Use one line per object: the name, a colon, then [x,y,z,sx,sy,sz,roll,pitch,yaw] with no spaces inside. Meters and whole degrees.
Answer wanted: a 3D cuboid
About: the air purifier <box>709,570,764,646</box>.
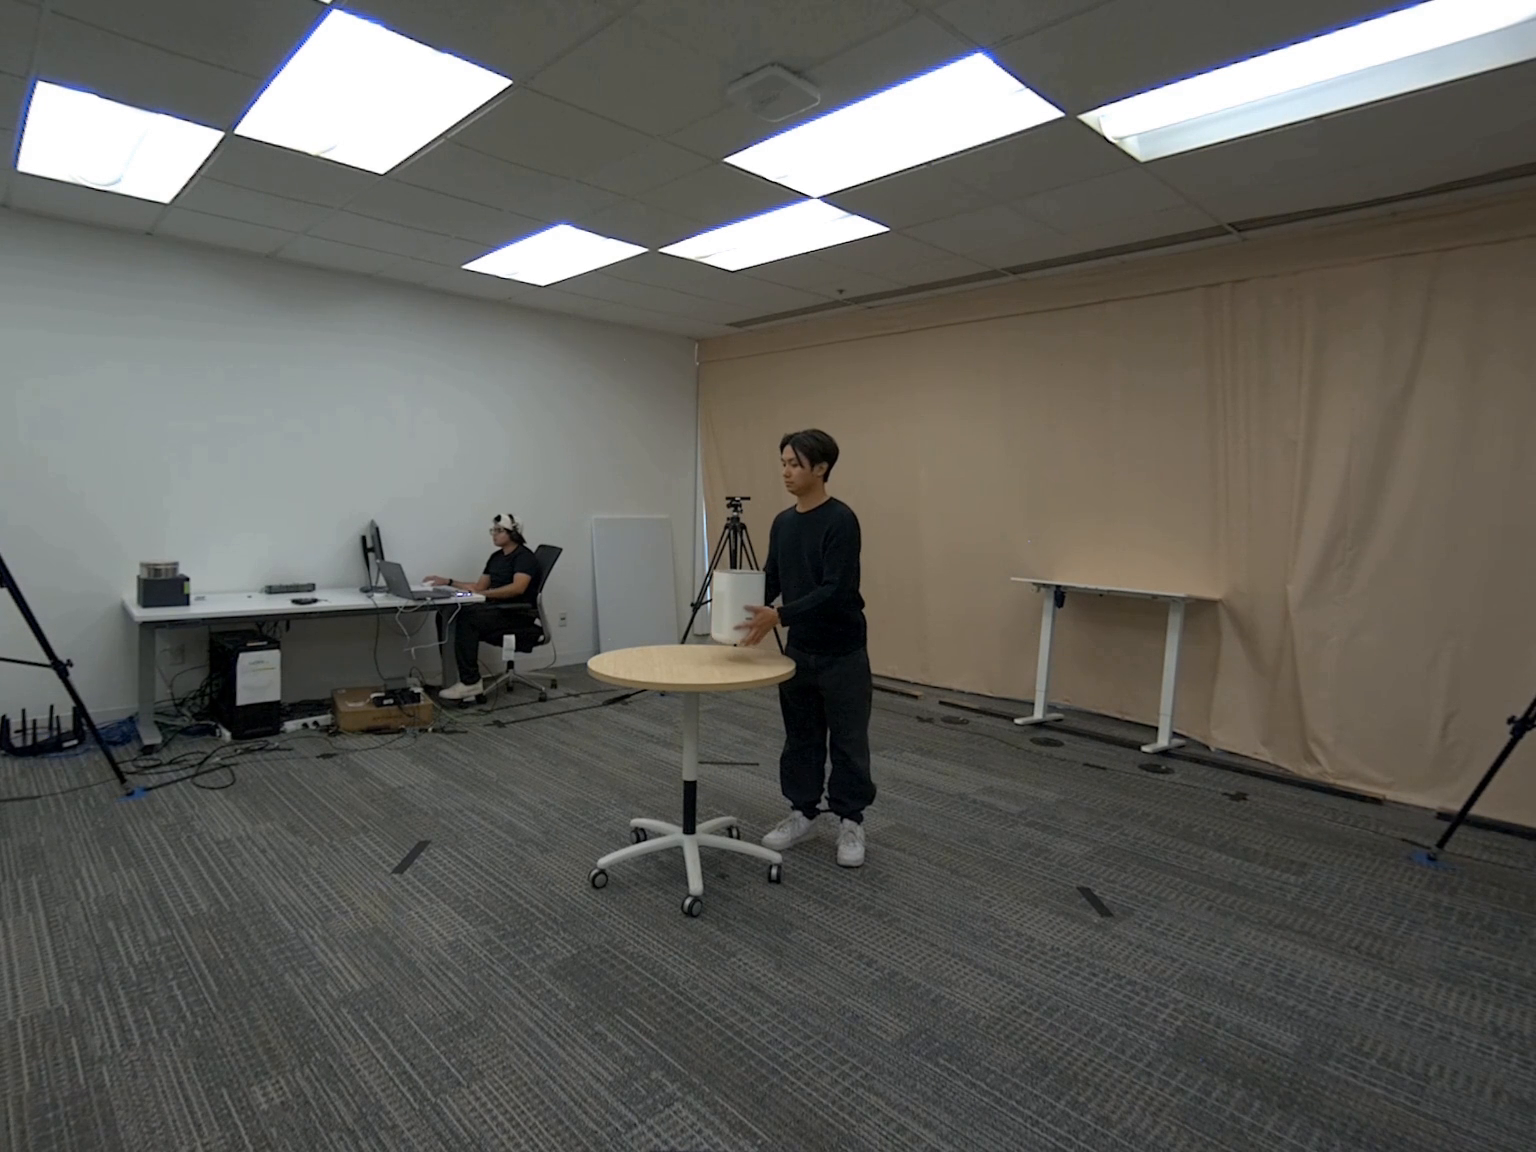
air purifier: [-0.115,0.114,3.147,0.167,0.265,0.175,2,1,-30]
